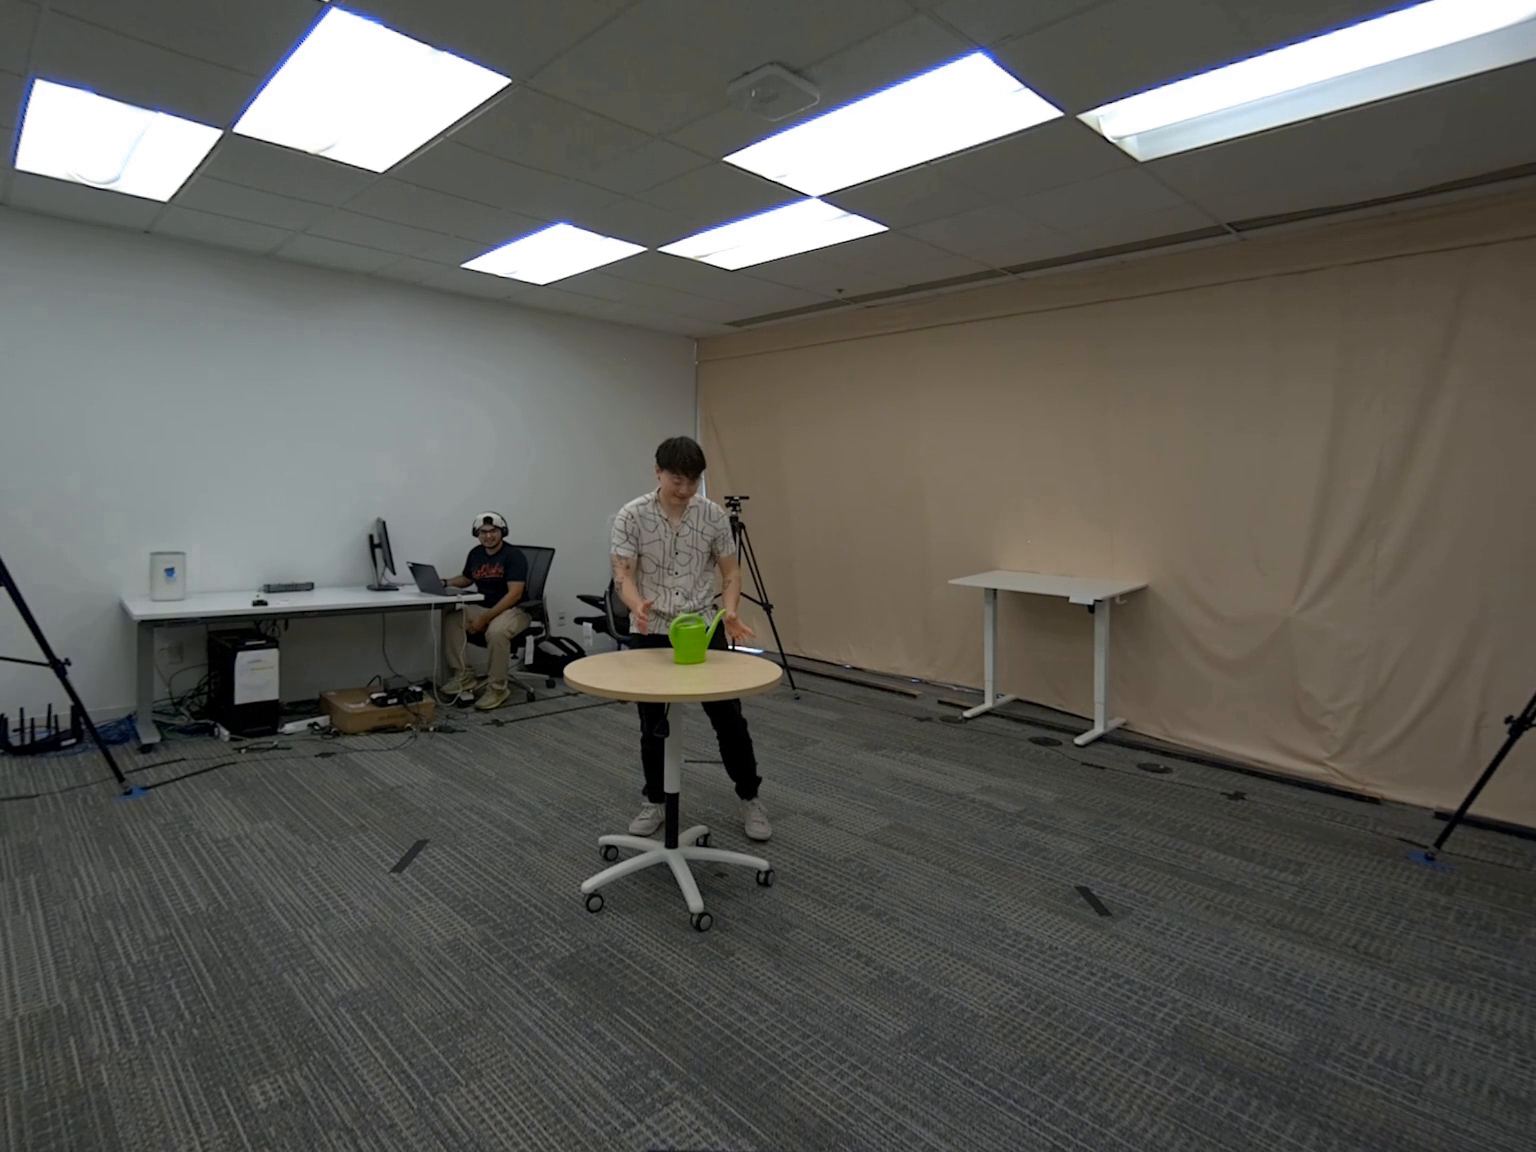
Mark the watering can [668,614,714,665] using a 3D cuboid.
[{"bbox_3d":[-0.270,0.229,3.114,0.272,0.176,0.100,-3,7,-33],"label":"watering can"}]
